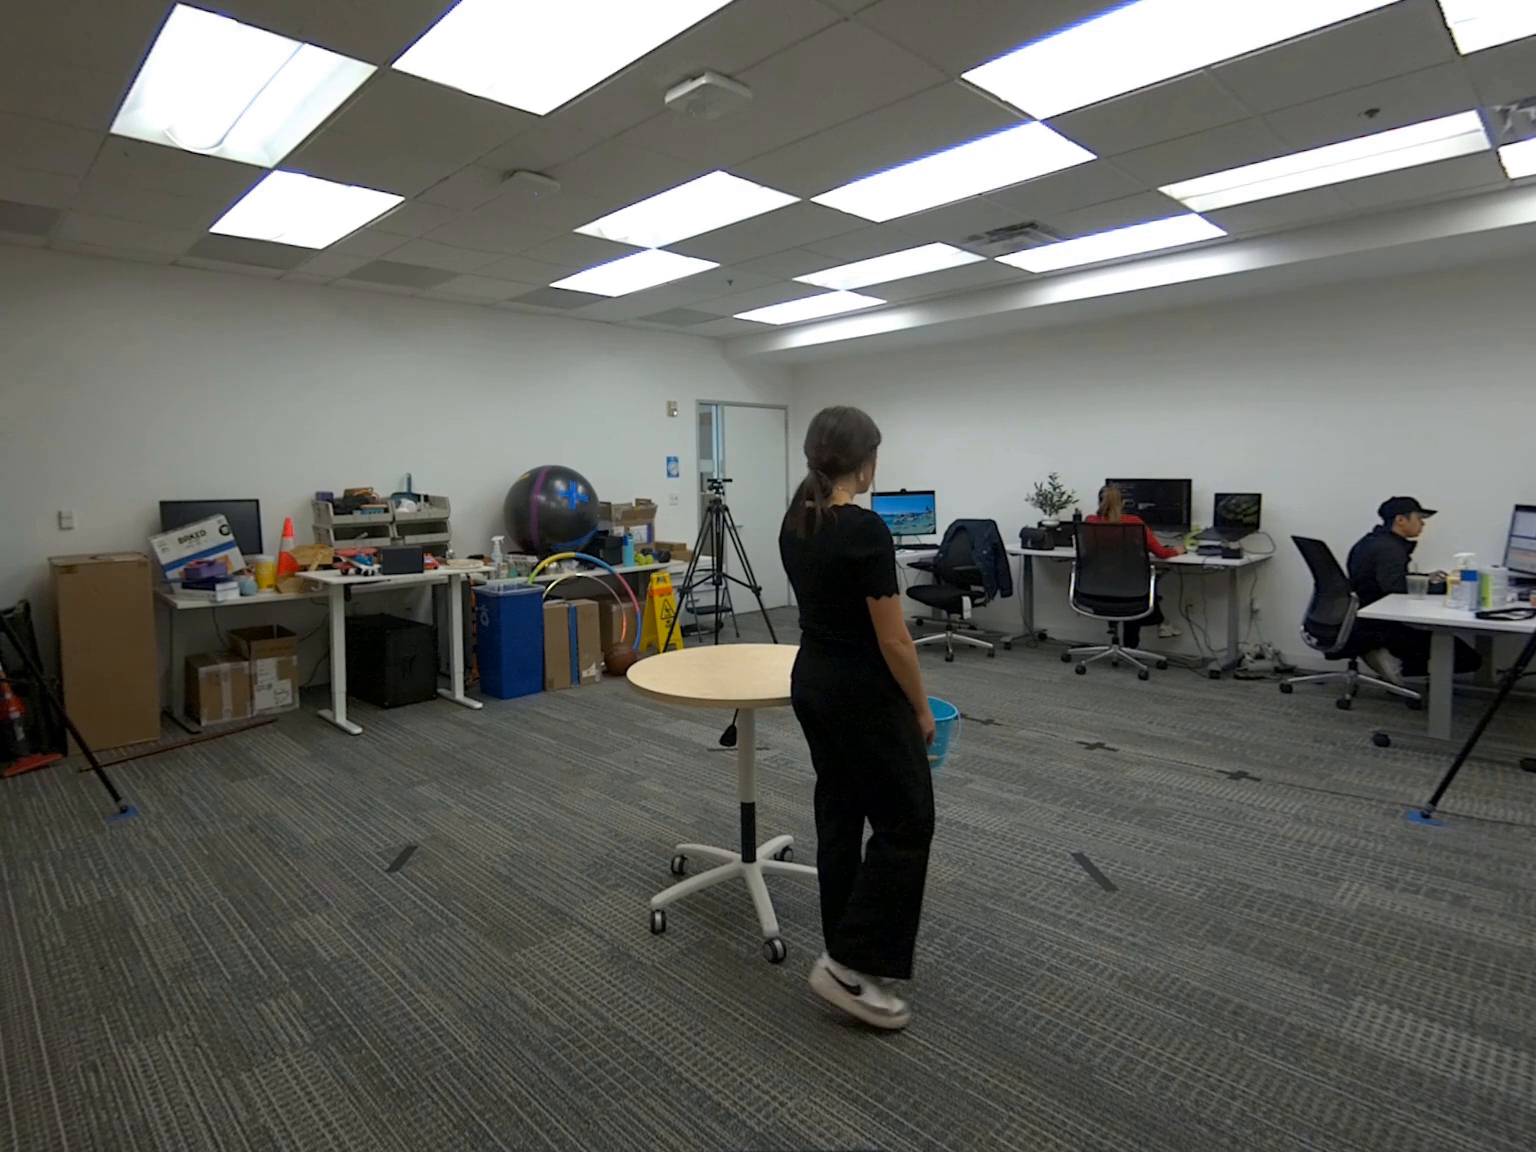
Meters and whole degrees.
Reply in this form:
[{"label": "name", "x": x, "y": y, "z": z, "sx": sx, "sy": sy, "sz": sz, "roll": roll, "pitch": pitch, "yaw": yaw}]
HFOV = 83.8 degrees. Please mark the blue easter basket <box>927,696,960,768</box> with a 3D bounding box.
[{"label": "blue easter basket", "x": 0.414, "y": 0.443, "z": 2.401, "sx": 0.243, "sy": 0.155, "sz": 0.245, "roll": 3, "pitch": 8, "yaw": -2}]
